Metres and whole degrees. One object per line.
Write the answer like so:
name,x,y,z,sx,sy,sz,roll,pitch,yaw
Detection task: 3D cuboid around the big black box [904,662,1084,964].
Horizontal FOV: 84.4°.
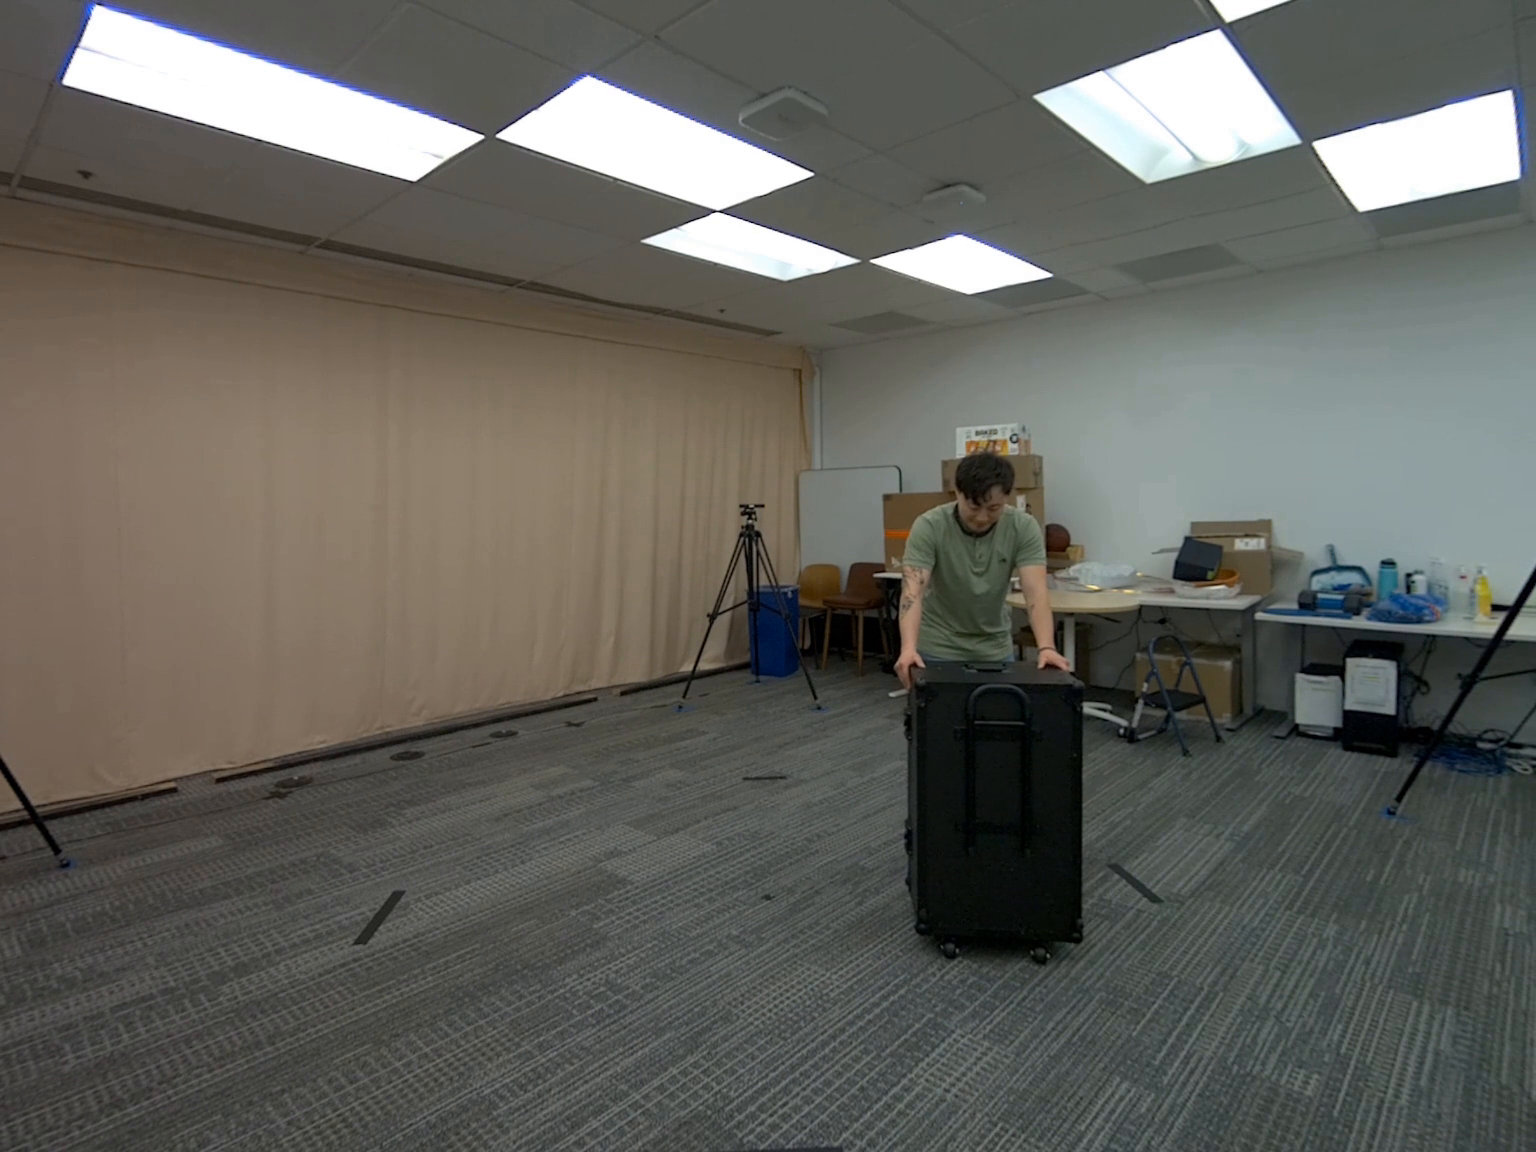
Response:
big black box,0.712,0.732,2.676,0.526,0.859,0.394,0,4,7
